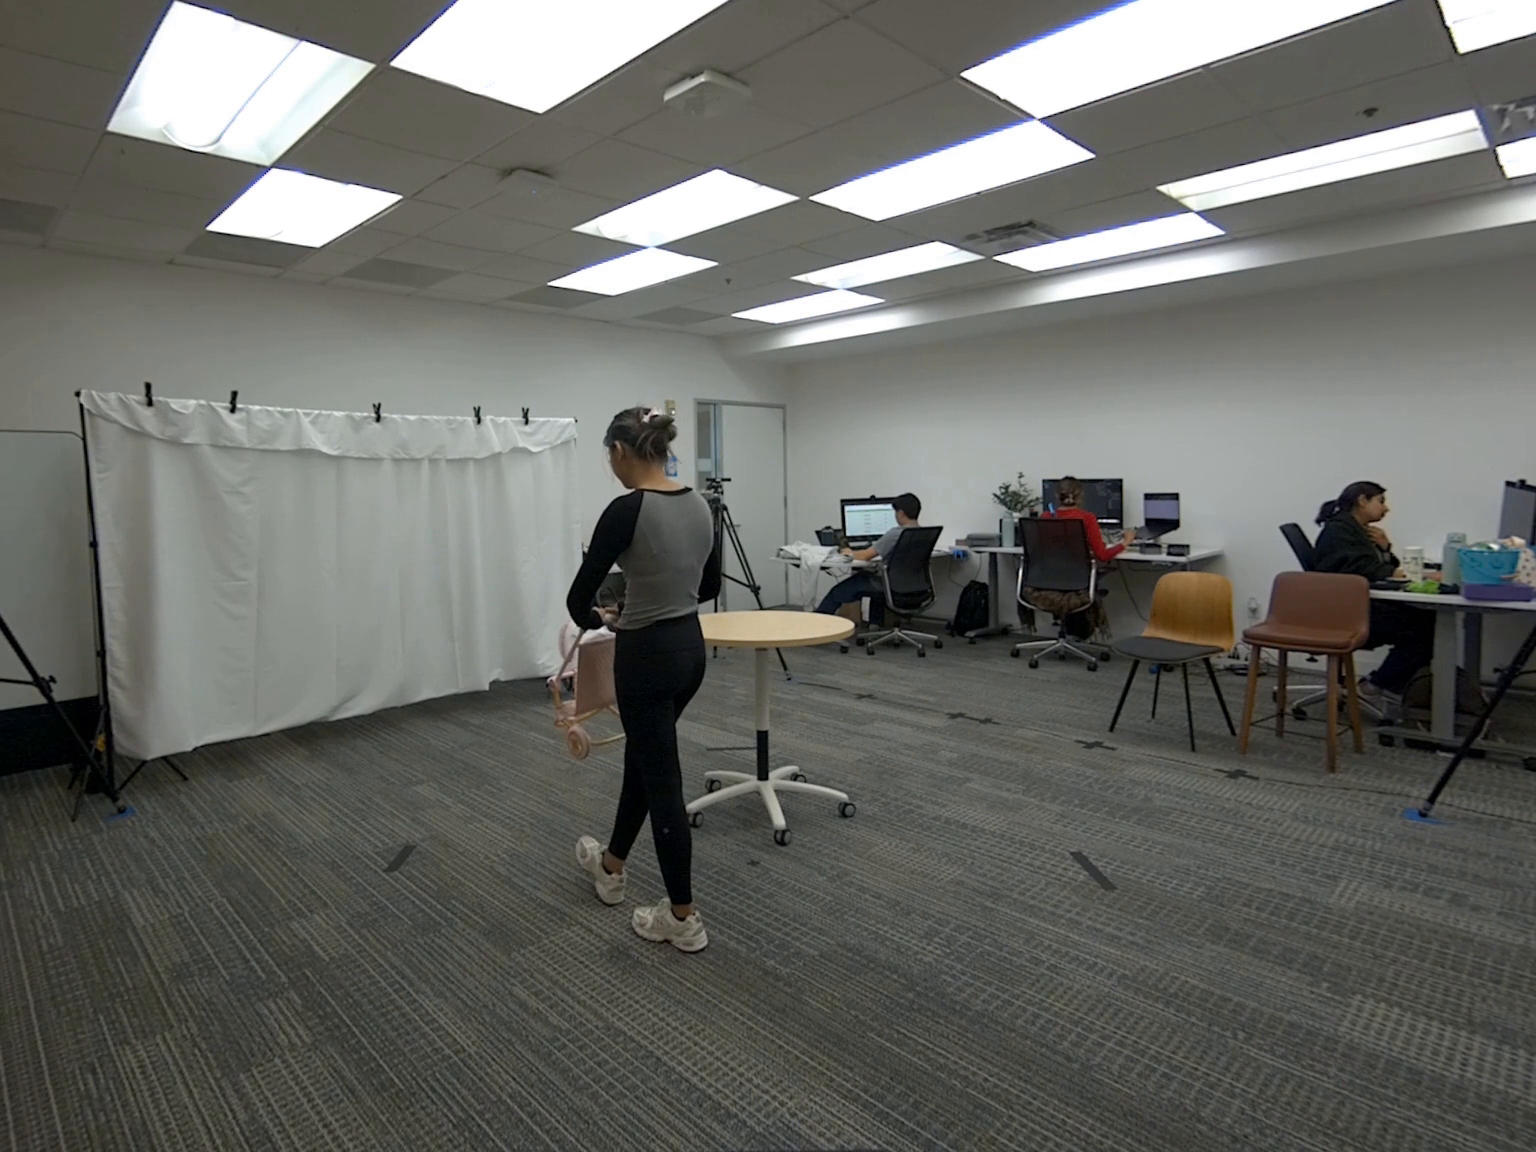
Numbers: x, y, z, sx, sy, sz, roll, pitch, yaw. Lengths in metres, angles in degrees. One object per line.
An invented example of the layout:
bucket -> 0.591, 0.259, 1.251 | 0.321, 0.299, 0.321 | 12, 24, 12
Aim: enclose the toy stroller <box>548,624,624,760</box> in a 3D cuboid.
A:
toy stroller -> -0.614, 0.365, 2.953 | 0.275, 0.530, 0.352 | -9, 12, -38
